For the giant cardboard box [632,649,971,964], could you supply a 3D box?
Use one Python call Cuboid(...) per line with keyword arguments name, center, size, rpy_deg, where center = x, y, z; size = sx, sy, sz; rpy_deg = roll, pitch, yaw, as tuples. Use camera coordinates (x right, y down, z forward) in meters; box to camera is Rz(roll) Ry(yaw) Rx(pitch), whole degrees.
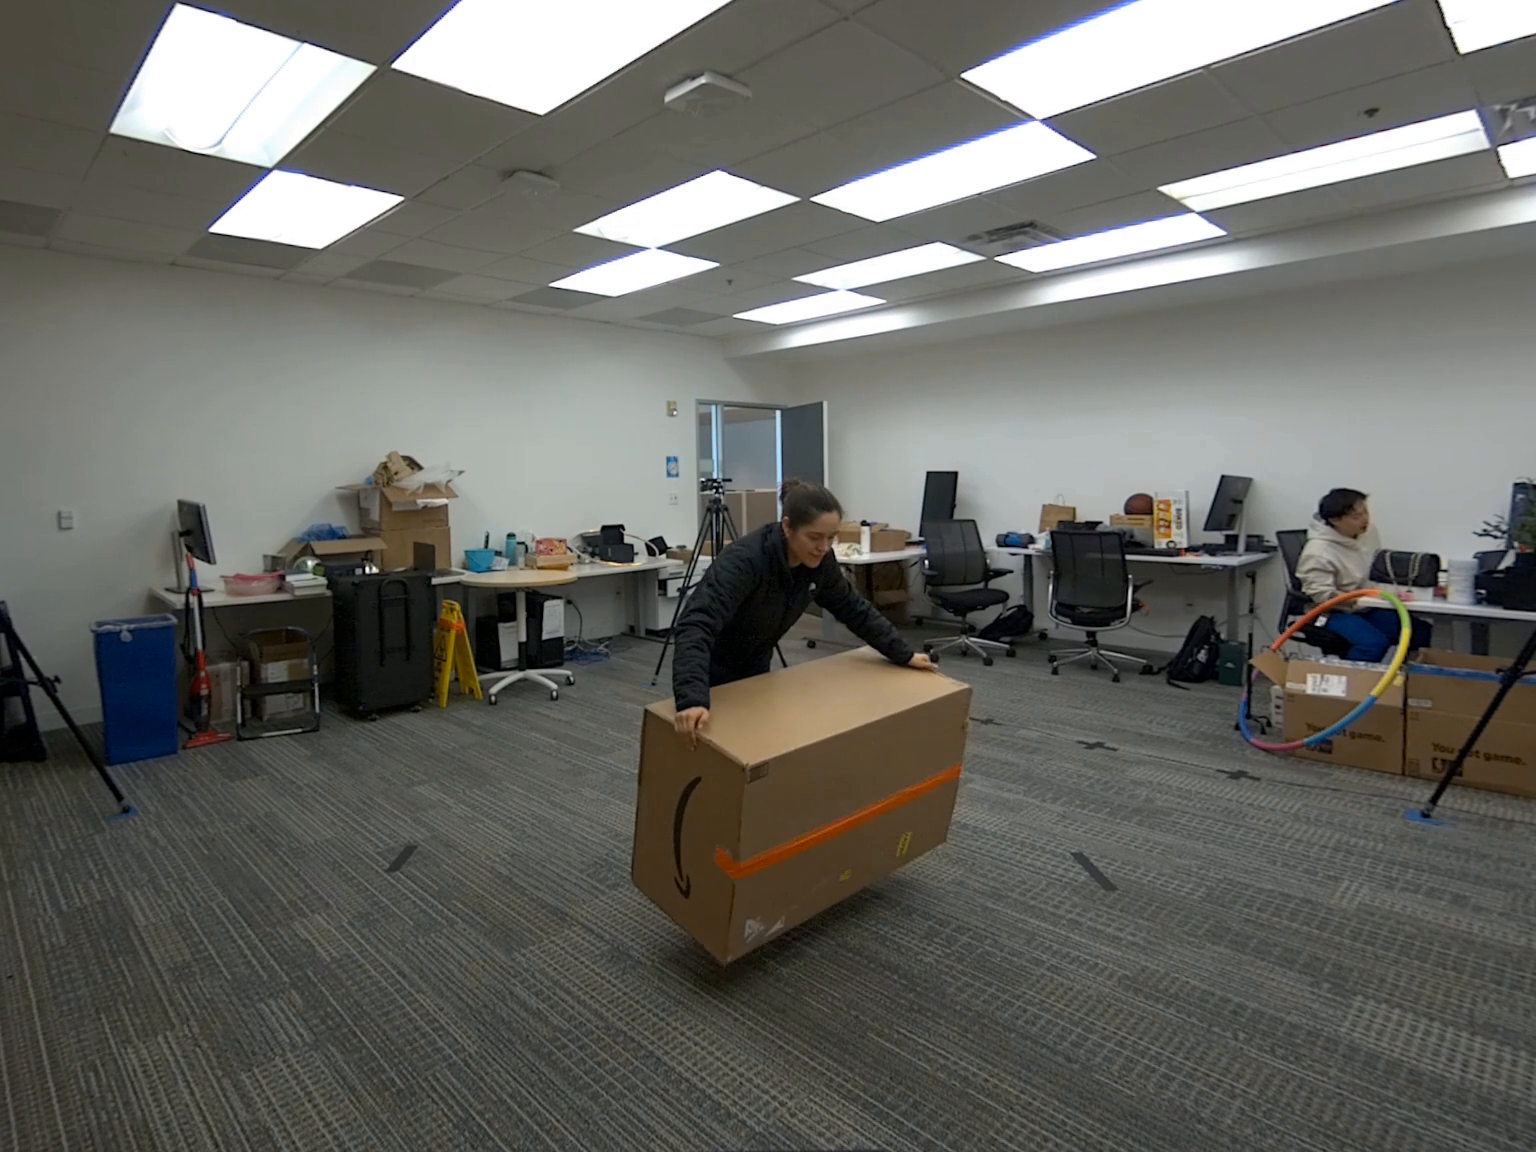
Cuboid(name="giant cardboard box", center=(0.139, 0.626, 2.655), size=(1.001, 0.578, 0.463), rpy_deg=(-9, 18, -42))
